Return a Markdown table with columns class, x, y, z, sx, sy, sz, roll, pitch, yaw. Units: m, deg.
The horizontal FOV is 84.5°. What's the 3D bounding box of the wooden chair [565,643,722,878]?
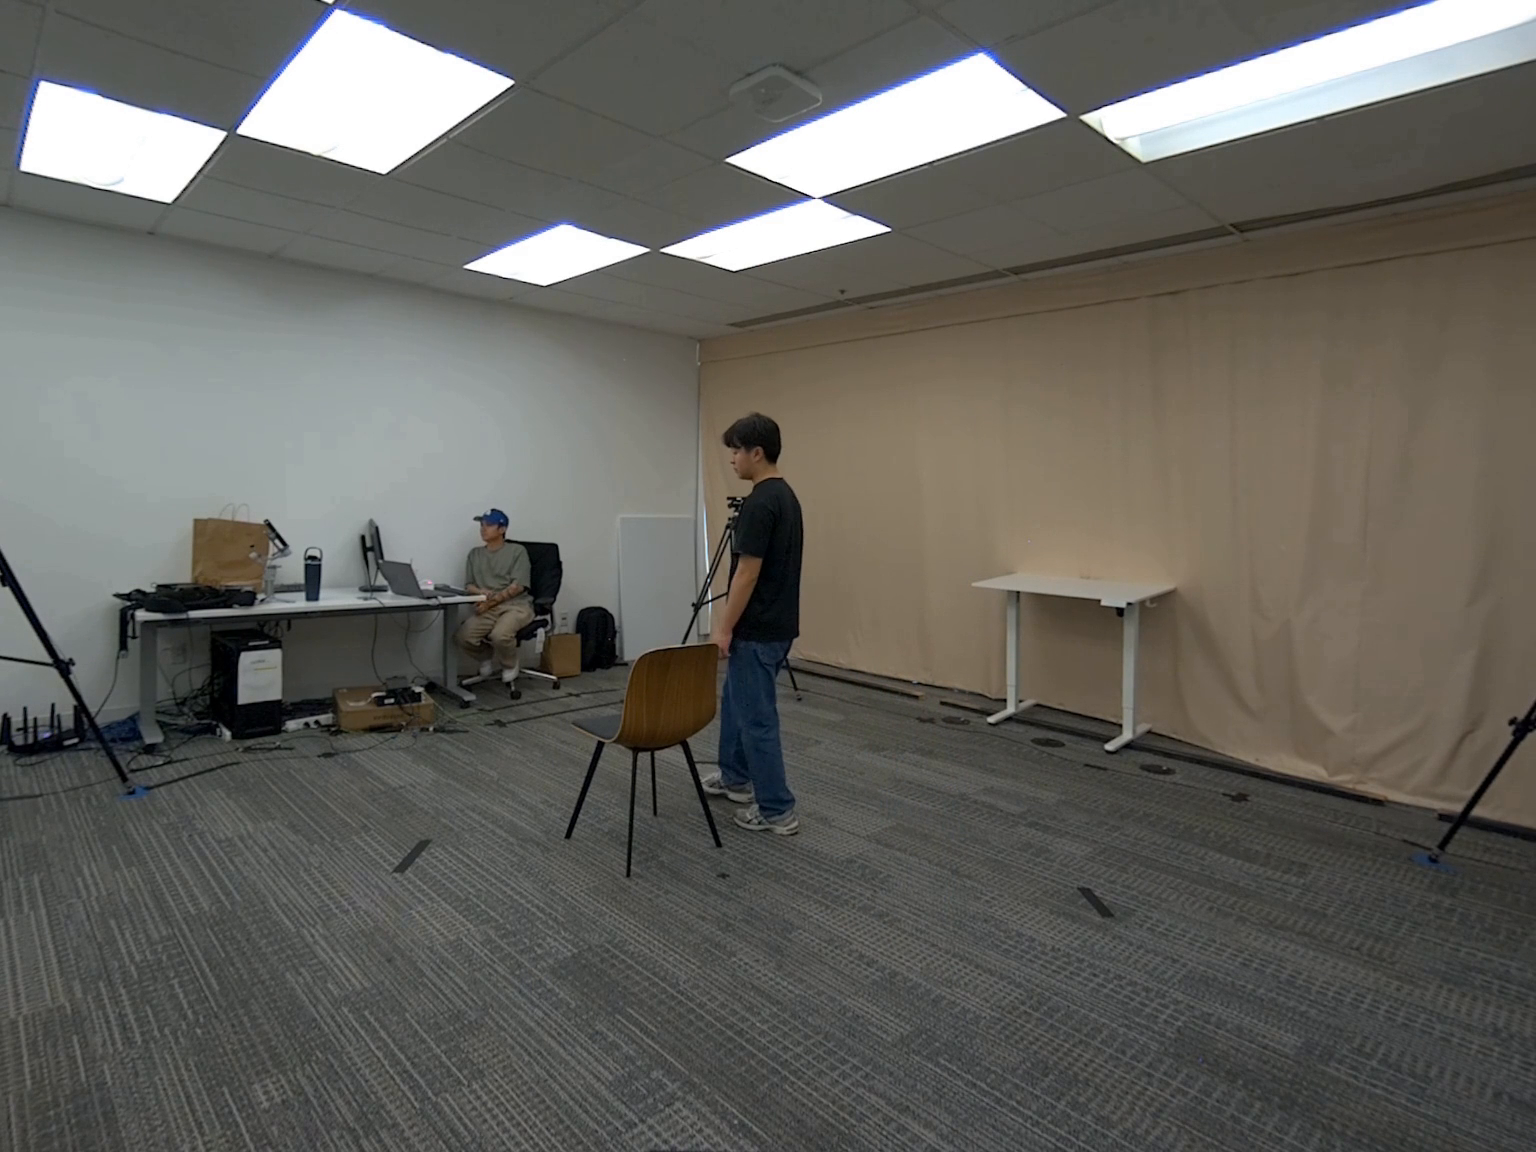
| class | x | y | z | sx | sy | sz | roll | pitch | yaw |
| --- | --- | --- | --- | --- | --- | --- | --- | --- | --- |
| wooden chair | -0.500 | 0.650 | 3.352 | 0.467 | 0.873 | 0.537 | -2 | 9 | -42 |
